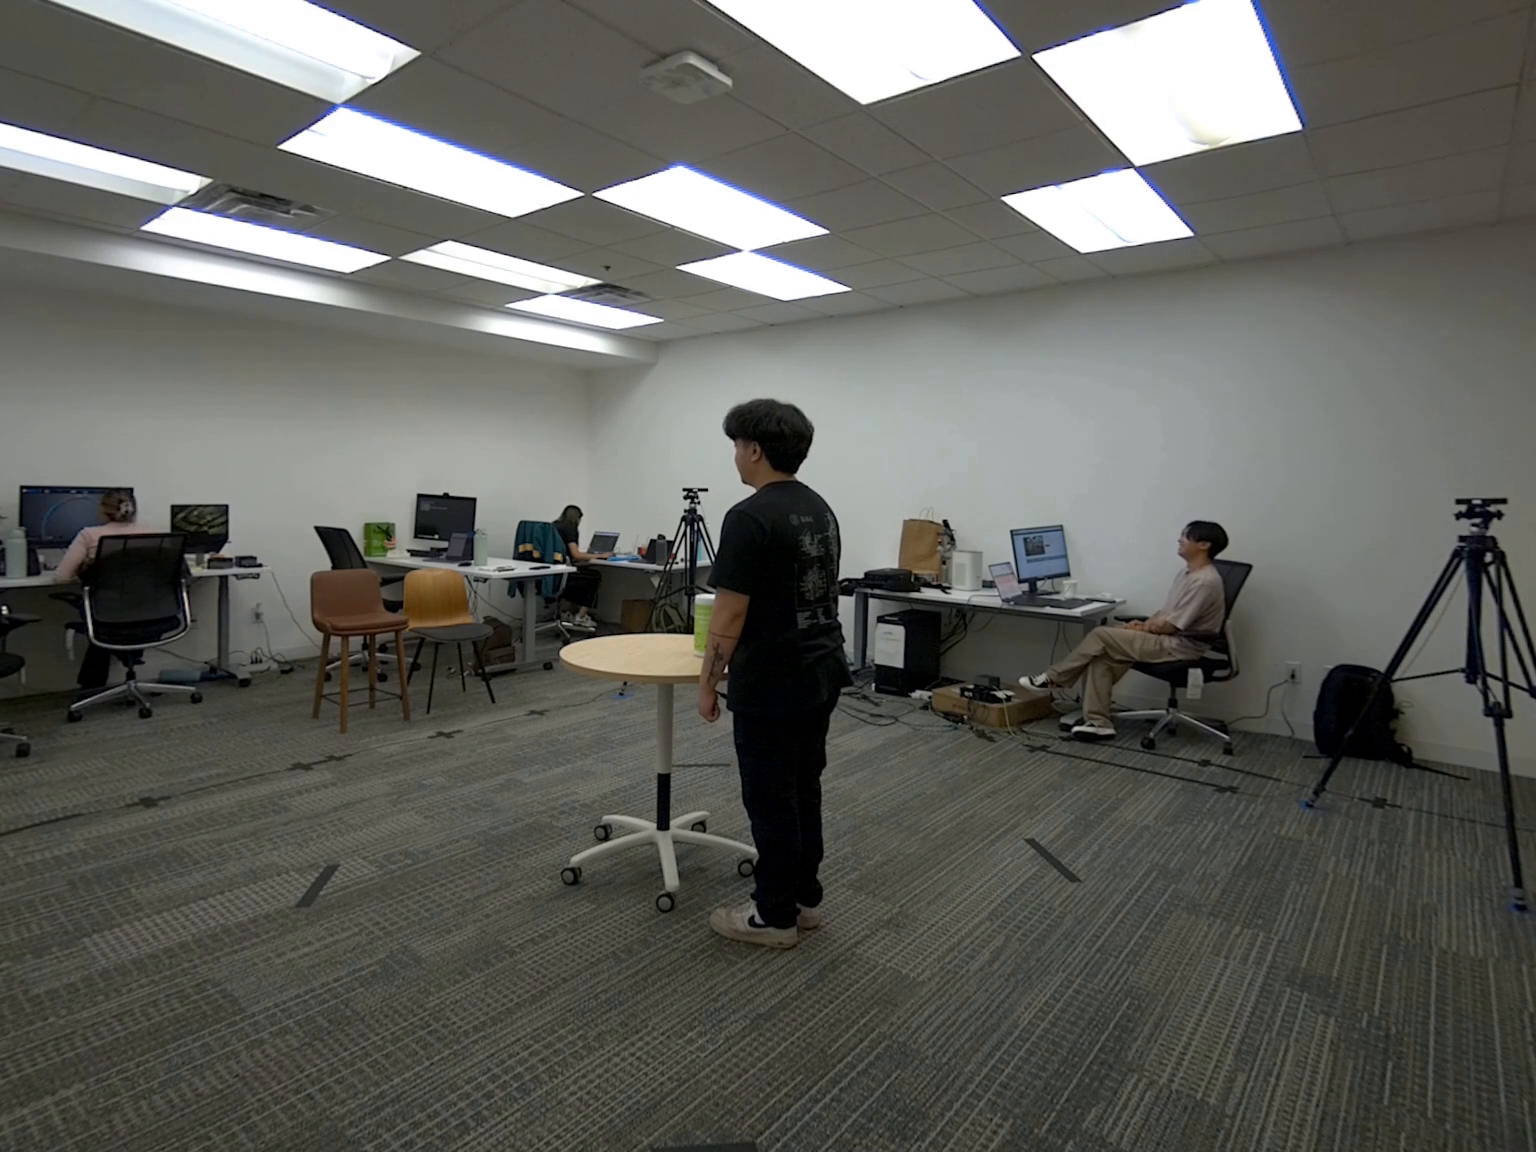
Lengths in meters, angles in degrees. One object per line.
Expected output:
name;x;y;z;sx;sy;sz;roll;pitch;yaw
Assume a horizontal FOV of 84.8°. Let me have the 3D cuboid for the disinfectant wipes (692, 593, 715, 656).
disinfectant wipes;-0.224;0.177;3.063;0.117;0.216;0.118;1;5;-2
